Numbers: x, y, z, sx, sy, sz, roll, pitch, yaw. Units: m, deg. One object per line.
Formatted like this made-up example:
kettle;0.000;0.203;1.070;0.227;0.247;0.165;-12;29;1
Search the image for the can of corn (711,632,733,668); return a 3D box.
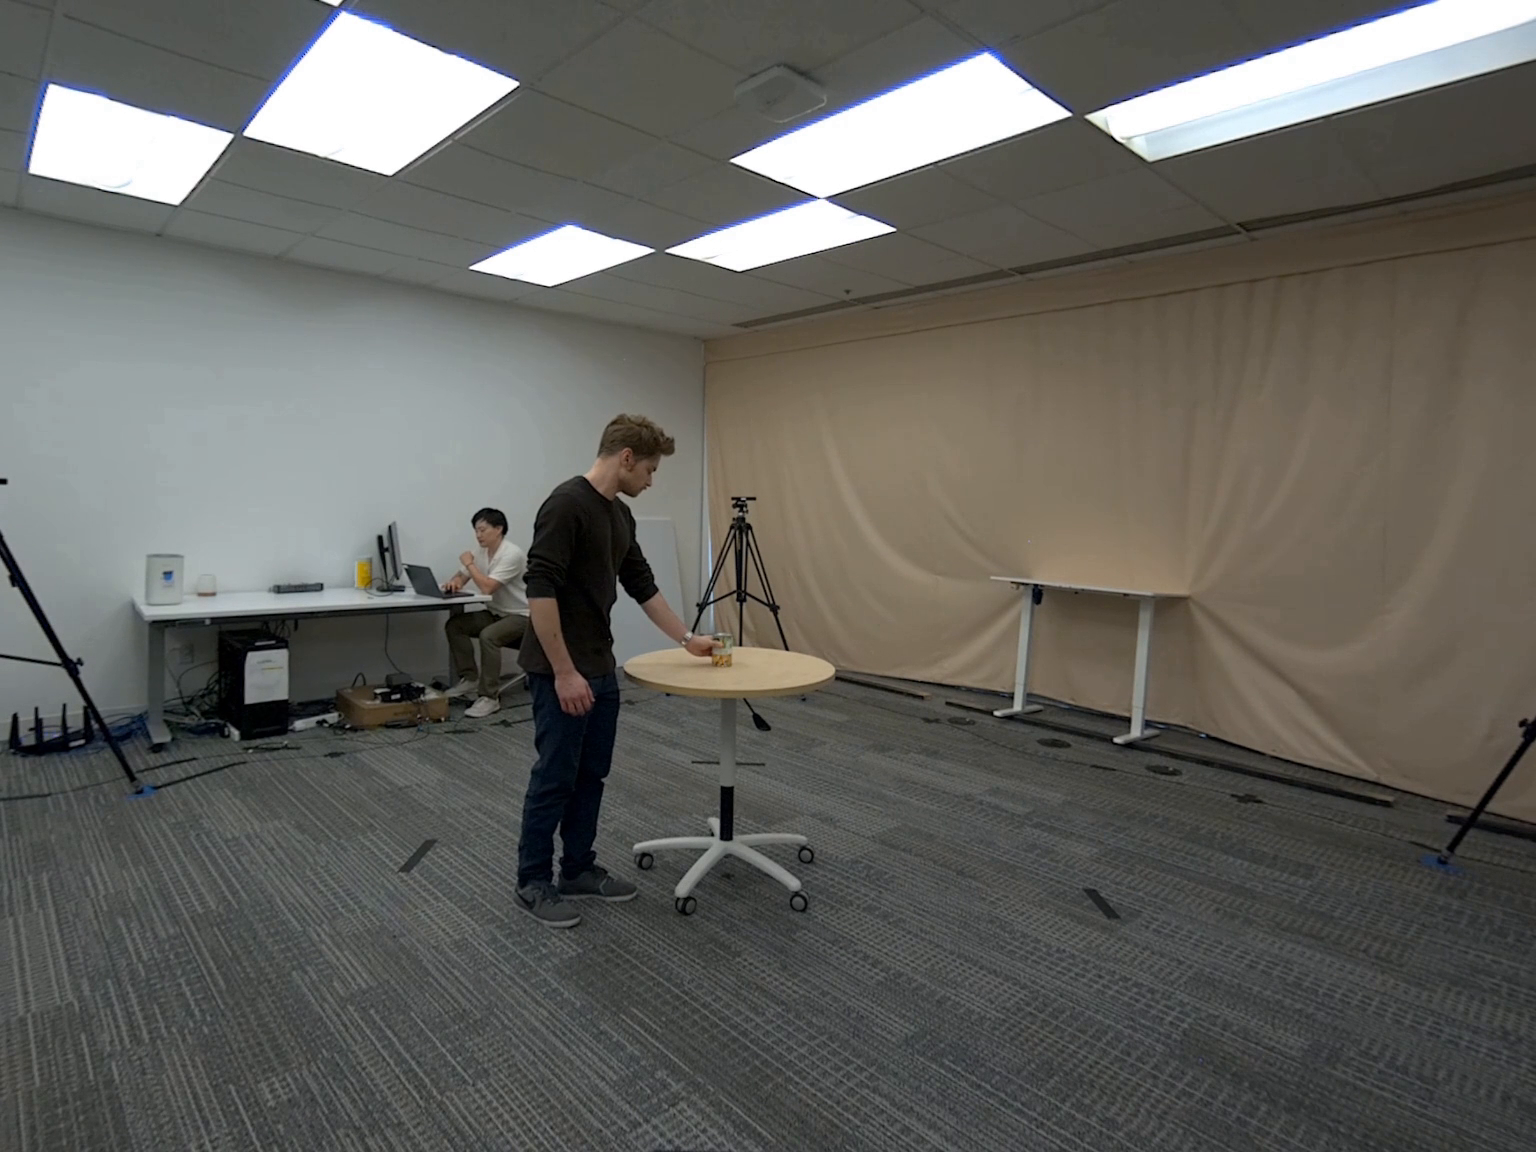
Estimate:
can of corn;-0.178;0.271;3.057;0.074;0.111;0.074;-2;0;-1
